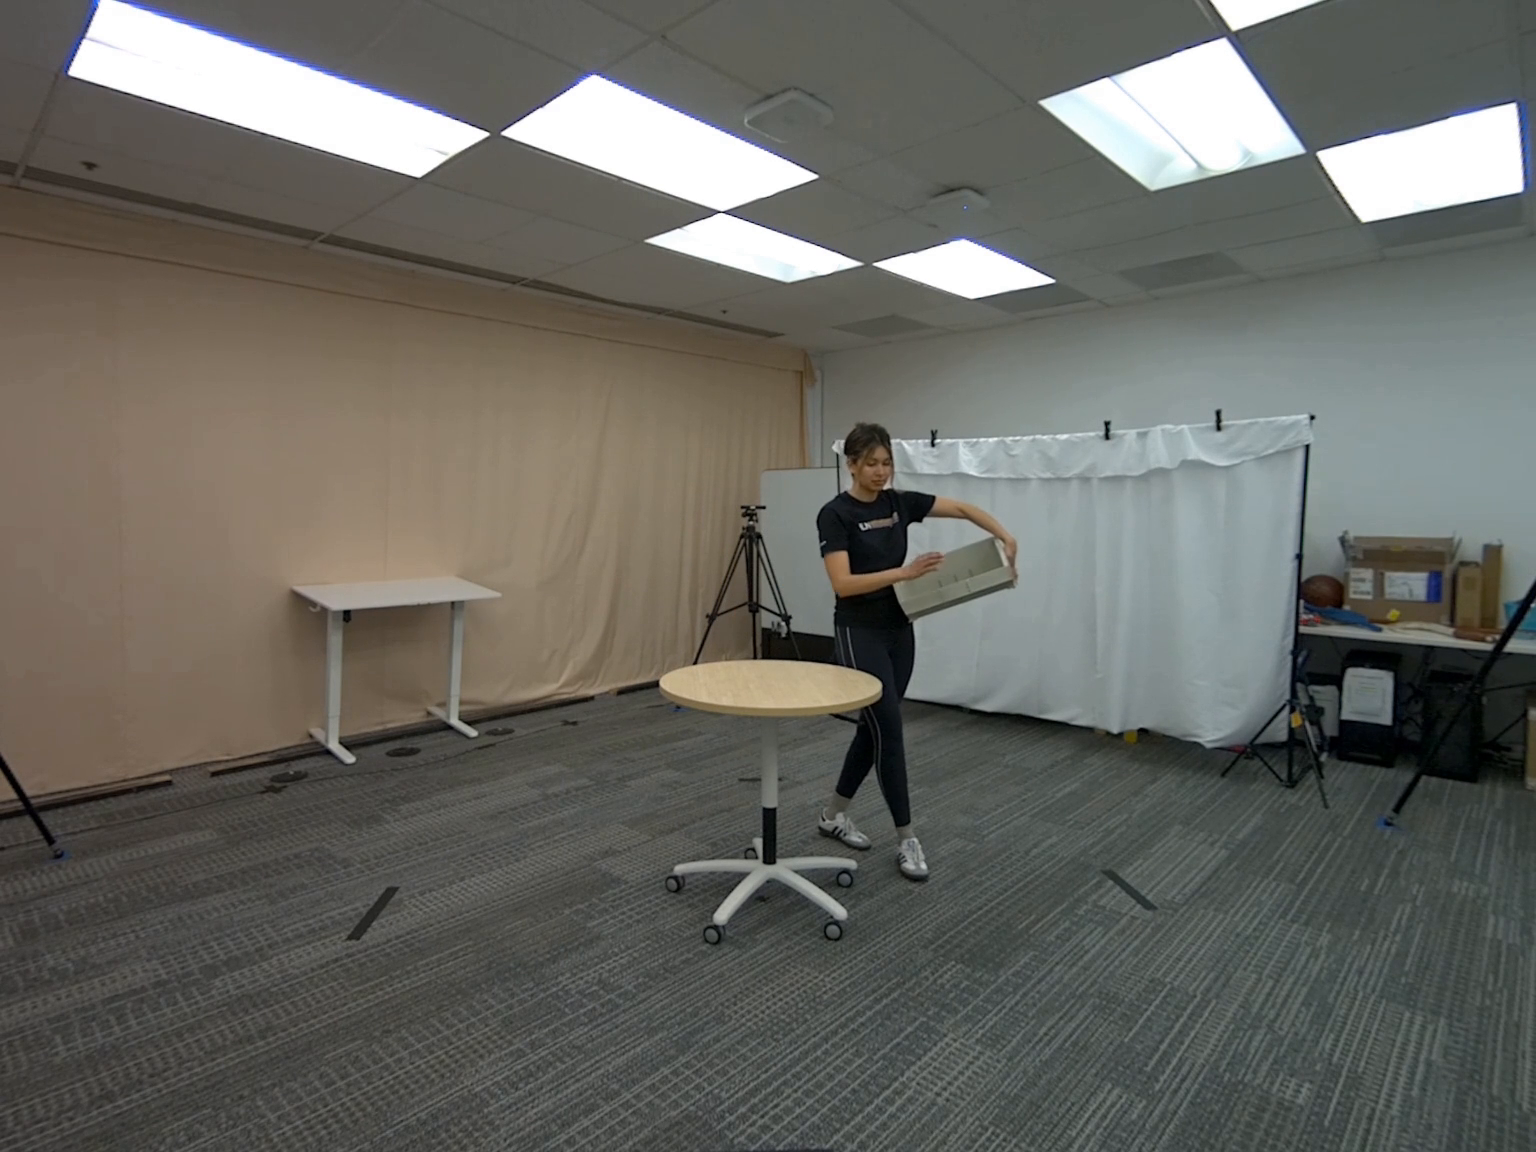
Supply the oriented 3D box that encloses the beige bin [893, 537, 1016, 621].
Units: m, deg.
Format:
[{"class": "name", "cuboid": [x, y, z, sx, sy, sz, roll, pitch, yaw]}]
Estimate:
[{"class": "beige bin", "cuboid": [0.724, 0.008, 3.266, 0.428, 0.189, 0.372, -21, -1, 17]}]
